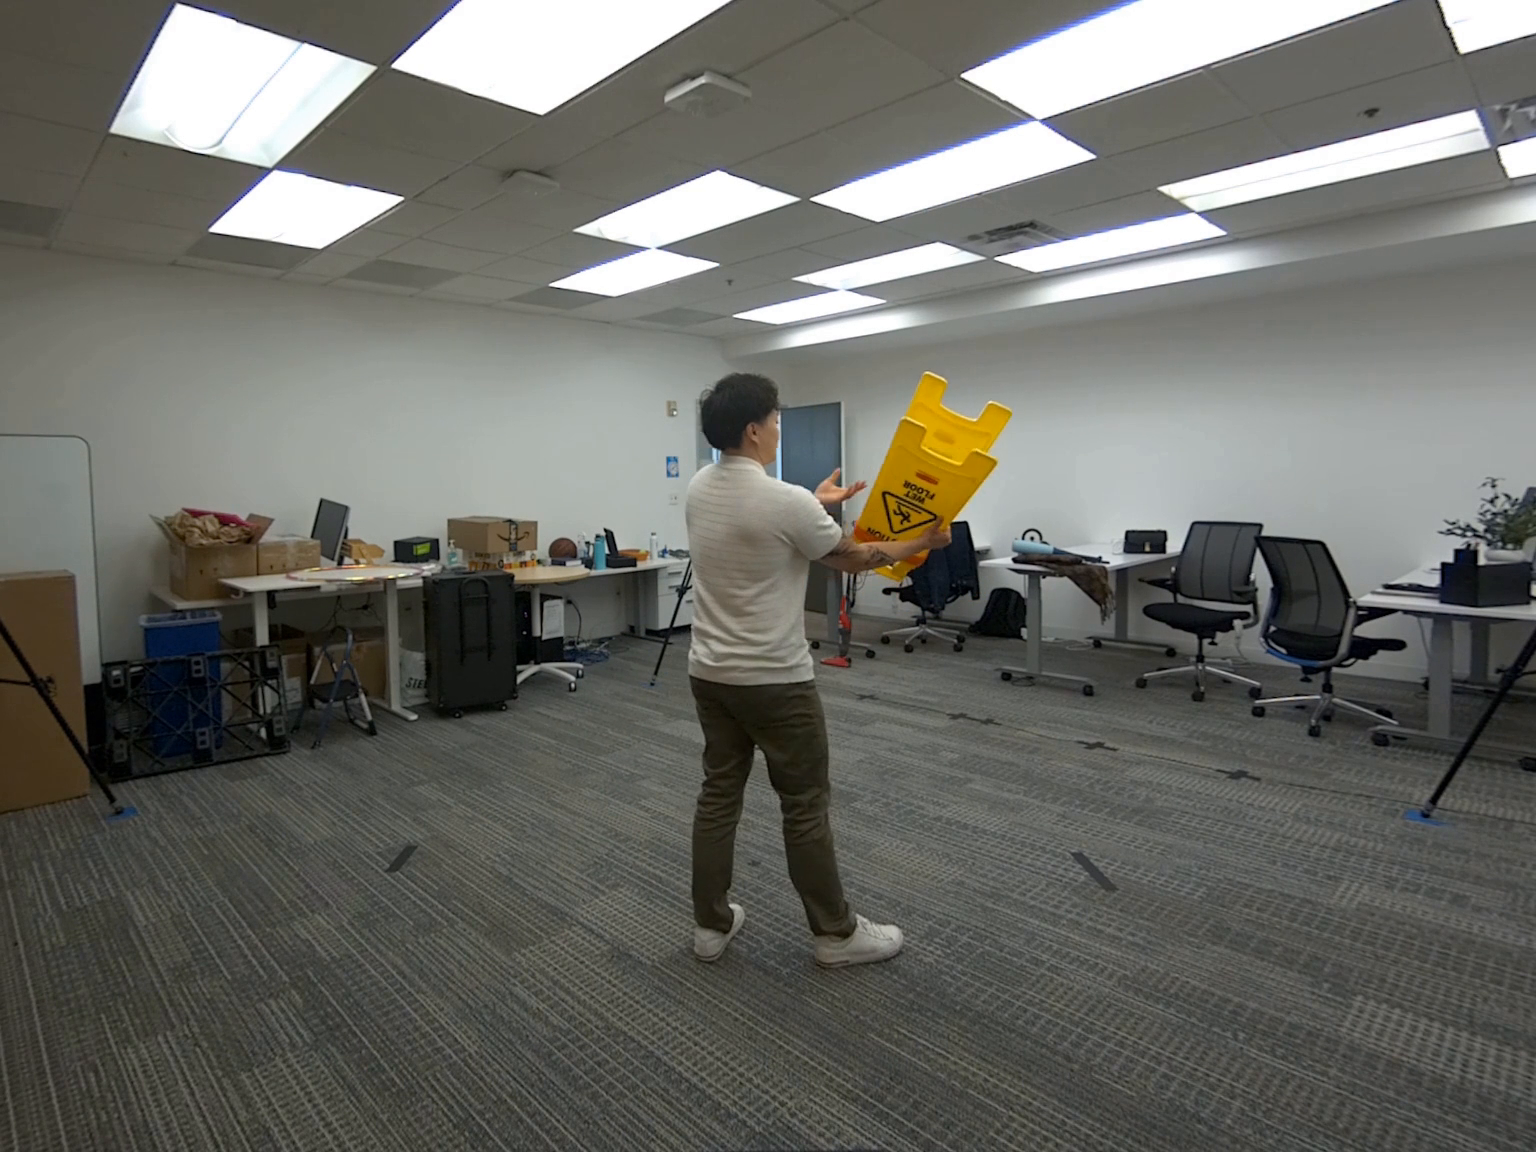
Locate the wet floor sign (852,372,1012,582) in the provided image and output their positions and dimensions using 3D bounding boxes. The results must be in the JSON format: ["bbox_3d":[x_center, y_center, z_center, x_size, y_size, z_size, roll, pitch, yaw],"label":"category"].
[{"bbox_3d":[0.443,-0.236,2.590,0.285,0.636,0.292,27,43,5],"label":"wet floor sign"}]
